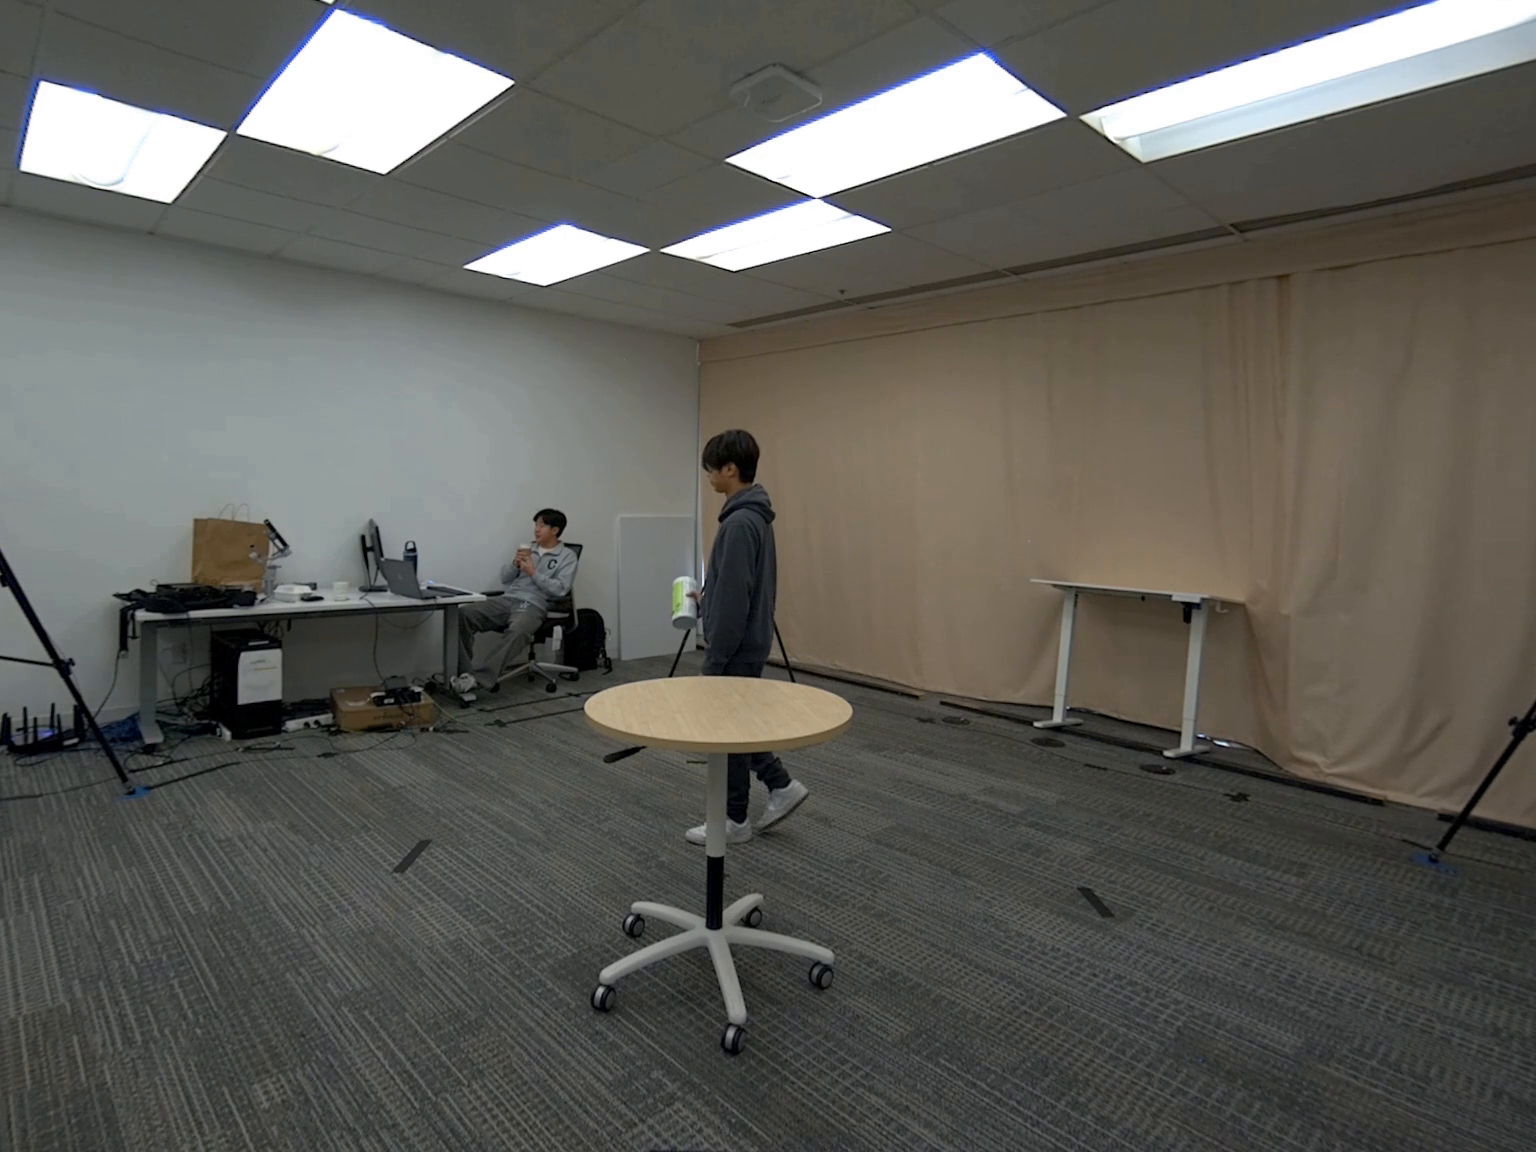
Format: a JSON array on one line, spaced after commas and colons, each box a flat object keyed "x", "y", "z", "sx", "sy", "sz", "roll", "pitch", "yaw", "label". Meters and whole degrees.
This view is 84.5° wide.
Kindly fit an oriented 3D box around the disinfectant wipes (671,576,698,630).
[{"x": -0.363, "y": 0.116, "z": 3.650, "sx": 0.117, "sy": 0.222, "sz": 0.115, "roll": -2, "pitch": -39, "yaw": -3, "label": "disinfectant wipes"}]
